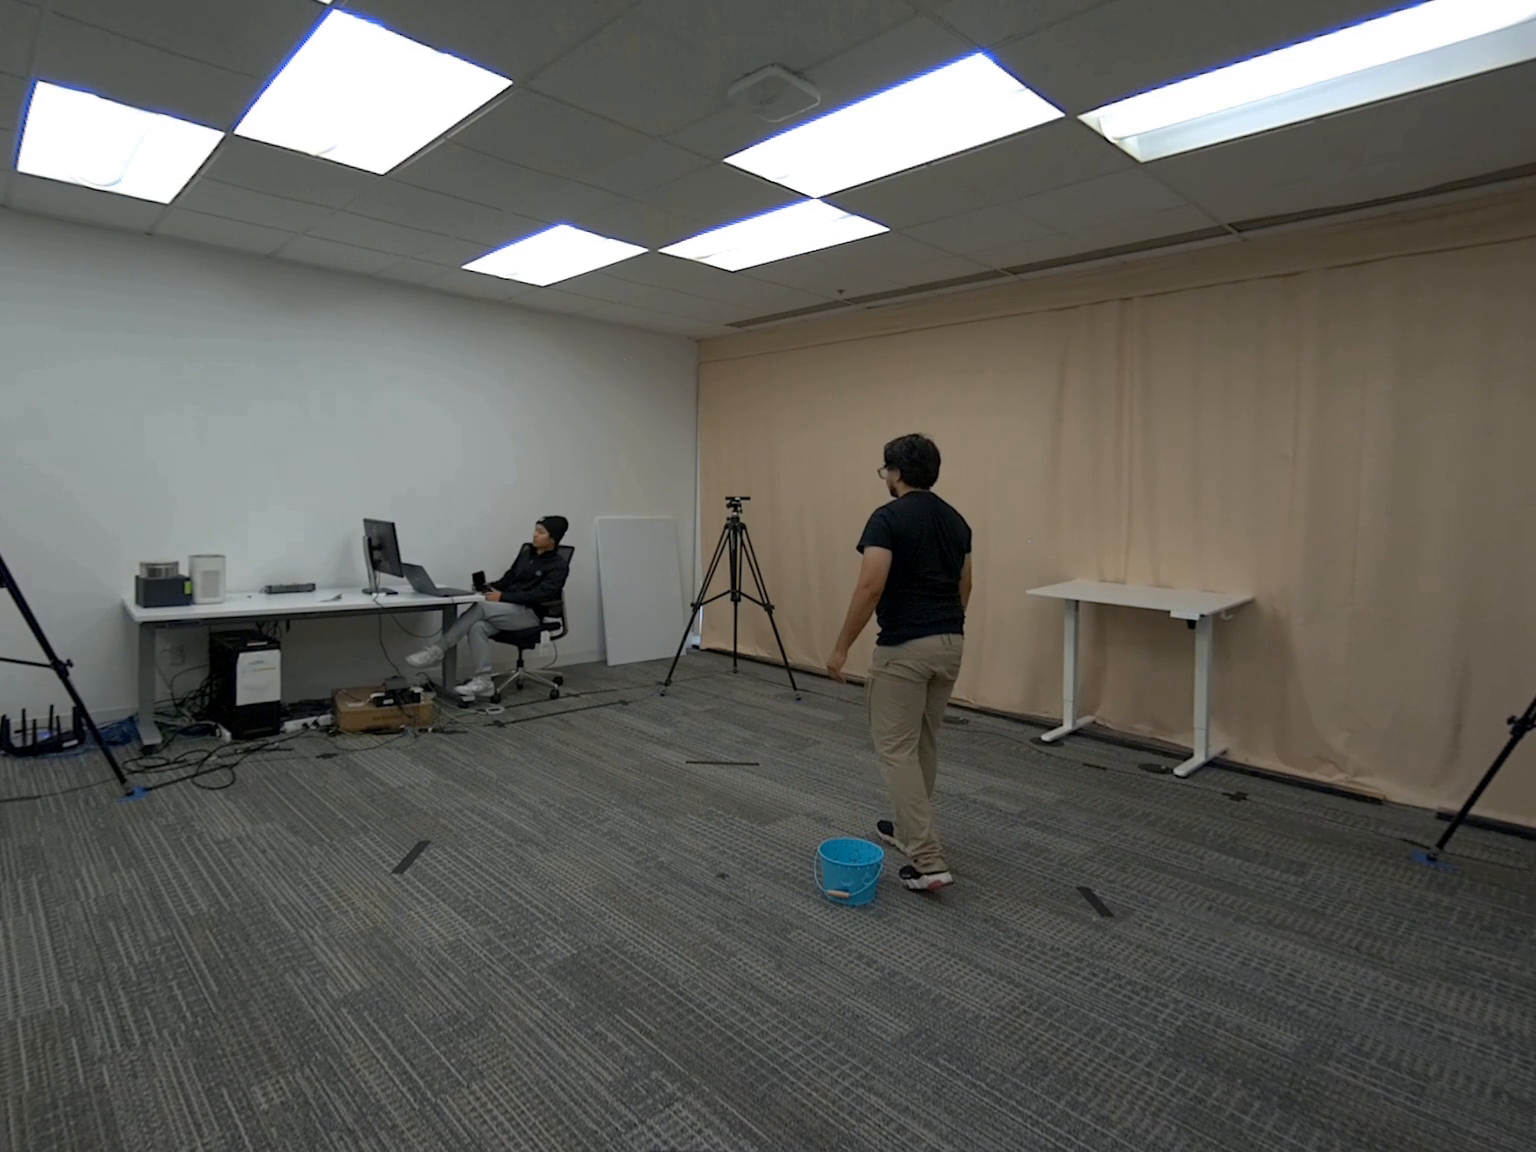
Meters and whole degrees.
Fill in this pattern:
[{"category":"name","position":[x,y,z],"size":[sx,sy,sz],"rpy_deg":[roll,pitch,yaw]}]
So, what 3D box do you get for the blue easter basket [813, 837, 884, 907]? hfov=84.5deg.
[{"category":"blue easter basket","position":[0.280,1.048,2.986],"size":[0.243,0.155,0.244],"rpy_deg":[2,4,-2]}]
